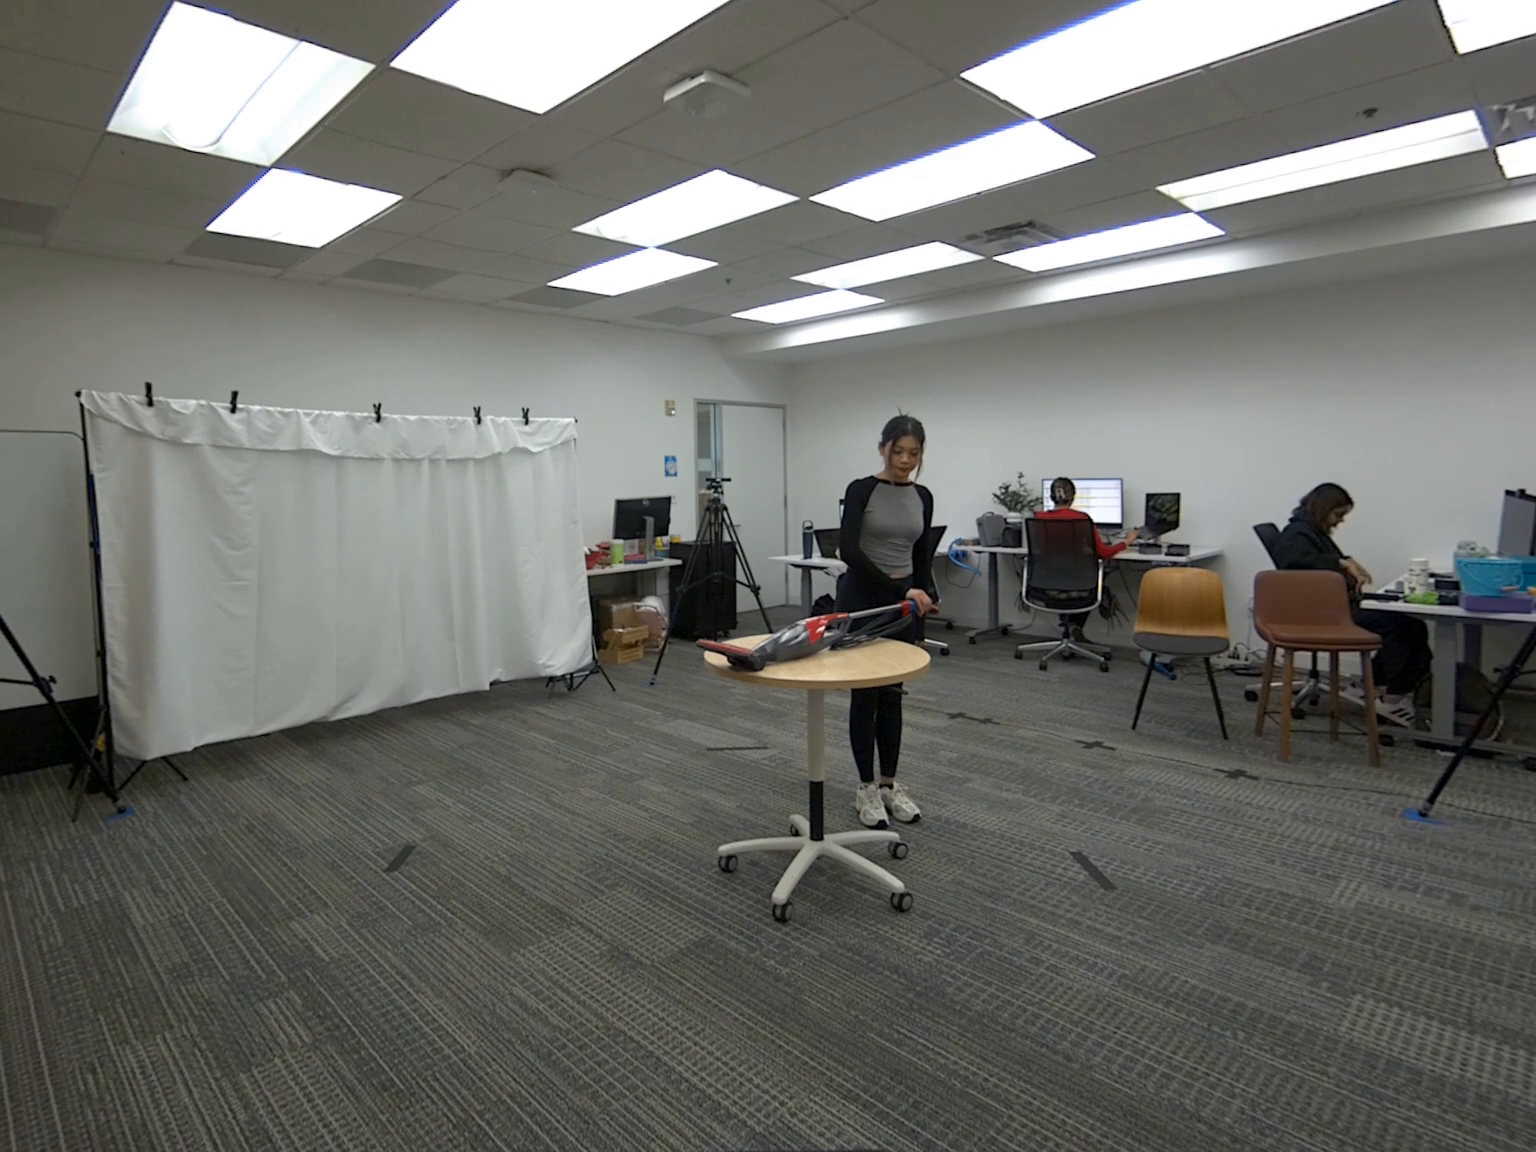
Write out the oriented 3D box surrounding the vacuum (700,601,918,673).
[{"bbox_3d":[0.272,0.206,3.014,1.023,0.143,0.260,-9,9,-43],"label":"vacuum"}]
